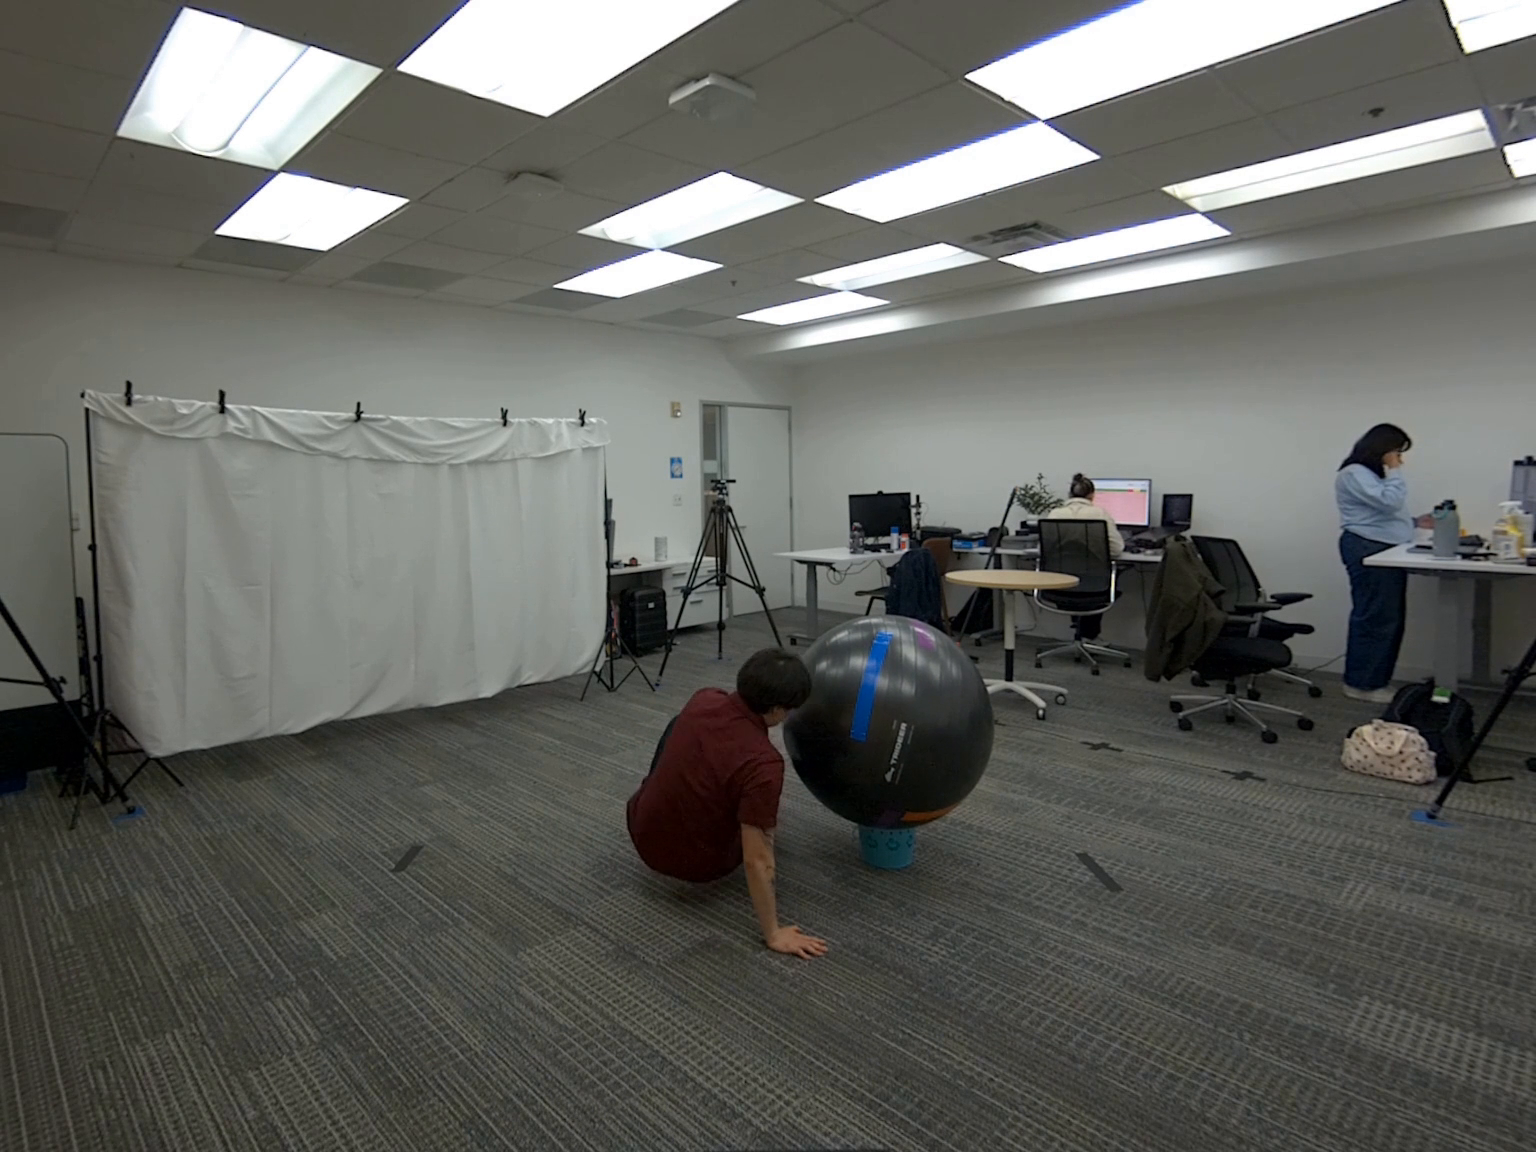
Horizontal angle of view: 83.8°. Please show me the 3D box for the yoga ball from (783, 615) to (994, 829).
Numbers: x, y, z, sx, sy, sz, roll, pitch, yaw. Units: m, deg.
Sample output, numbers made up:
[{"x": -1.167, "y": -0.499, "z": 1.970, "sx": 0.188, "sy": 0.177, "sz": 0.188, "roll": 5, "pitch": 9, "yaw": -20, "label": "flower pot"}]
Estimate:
[{"x": 0.433, "y": 0.530, "z": 3.120, "sx": 0.757, "sy": 0.755, "sz": 0.762, "roll": -1, "pitch": 5, "yaw": -2, "label": "yoga ball"}]
